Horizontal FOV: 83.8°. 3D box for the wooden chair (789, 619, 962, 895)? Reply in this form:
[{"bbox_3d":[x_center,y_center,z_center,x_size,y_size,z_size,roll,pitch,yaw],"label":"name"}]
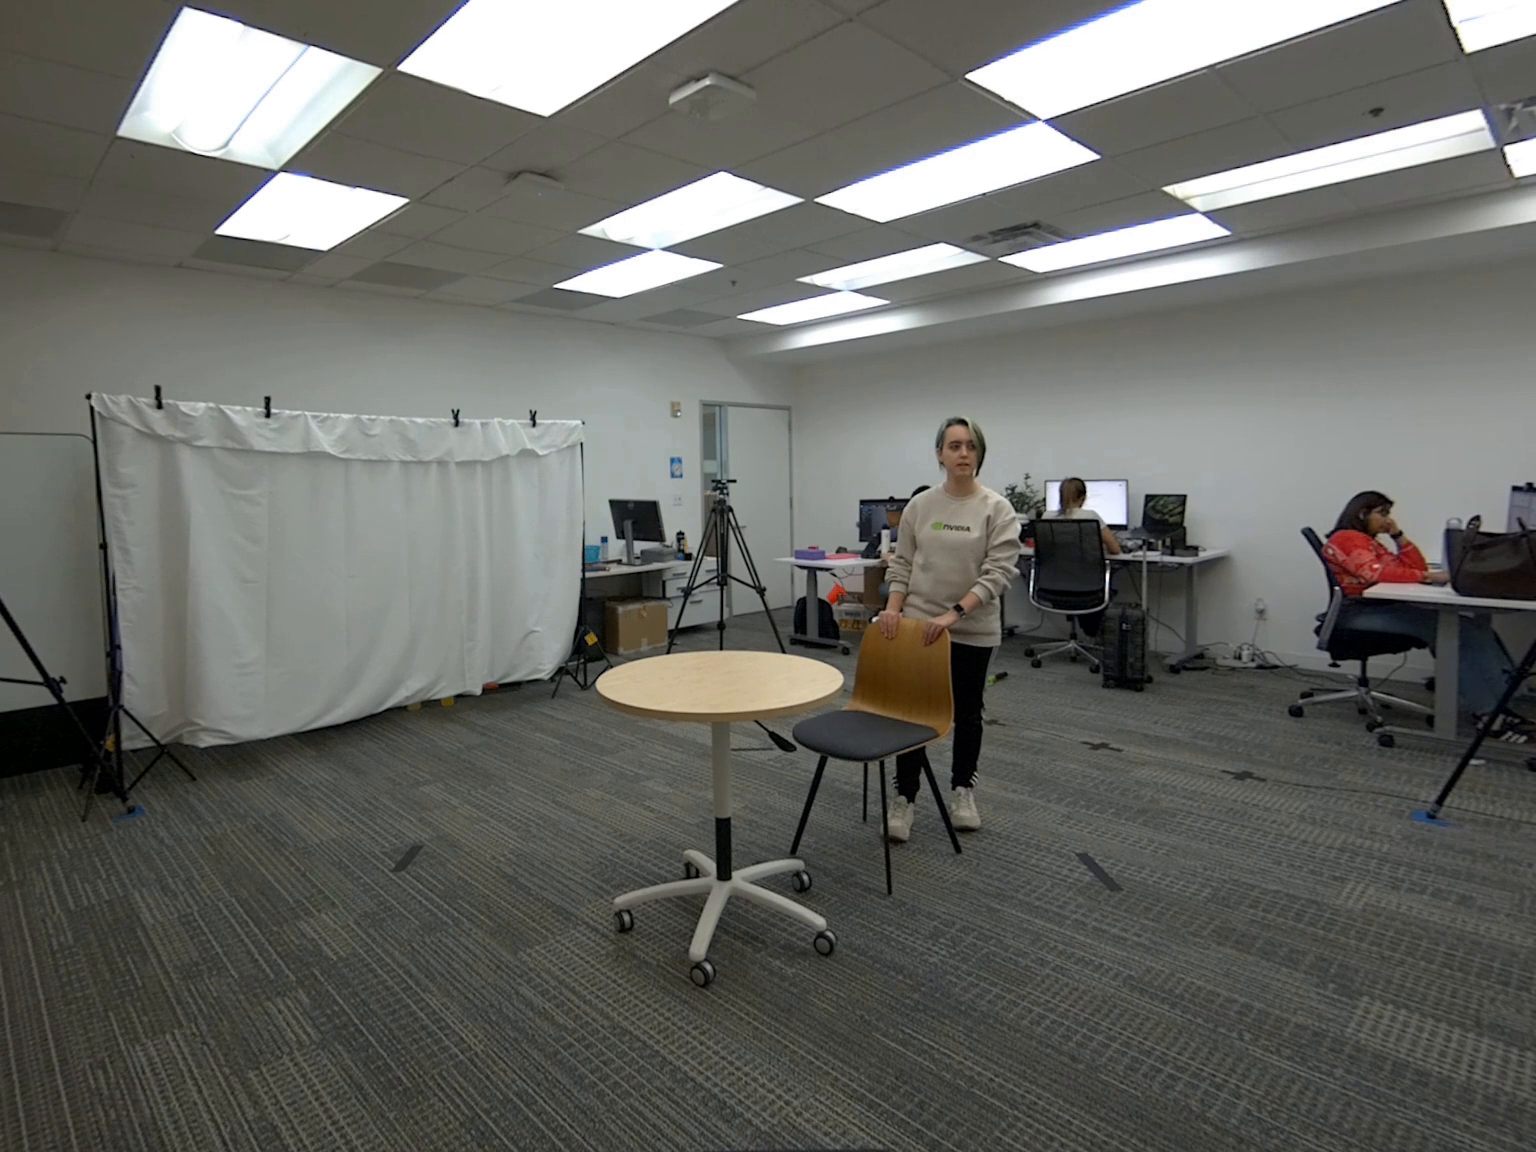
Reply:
[{"bbox_3d":[0.385,0.609,3.125,0.508,0.877,0.493,1,2,-45],"label":"wooden chair"}]
